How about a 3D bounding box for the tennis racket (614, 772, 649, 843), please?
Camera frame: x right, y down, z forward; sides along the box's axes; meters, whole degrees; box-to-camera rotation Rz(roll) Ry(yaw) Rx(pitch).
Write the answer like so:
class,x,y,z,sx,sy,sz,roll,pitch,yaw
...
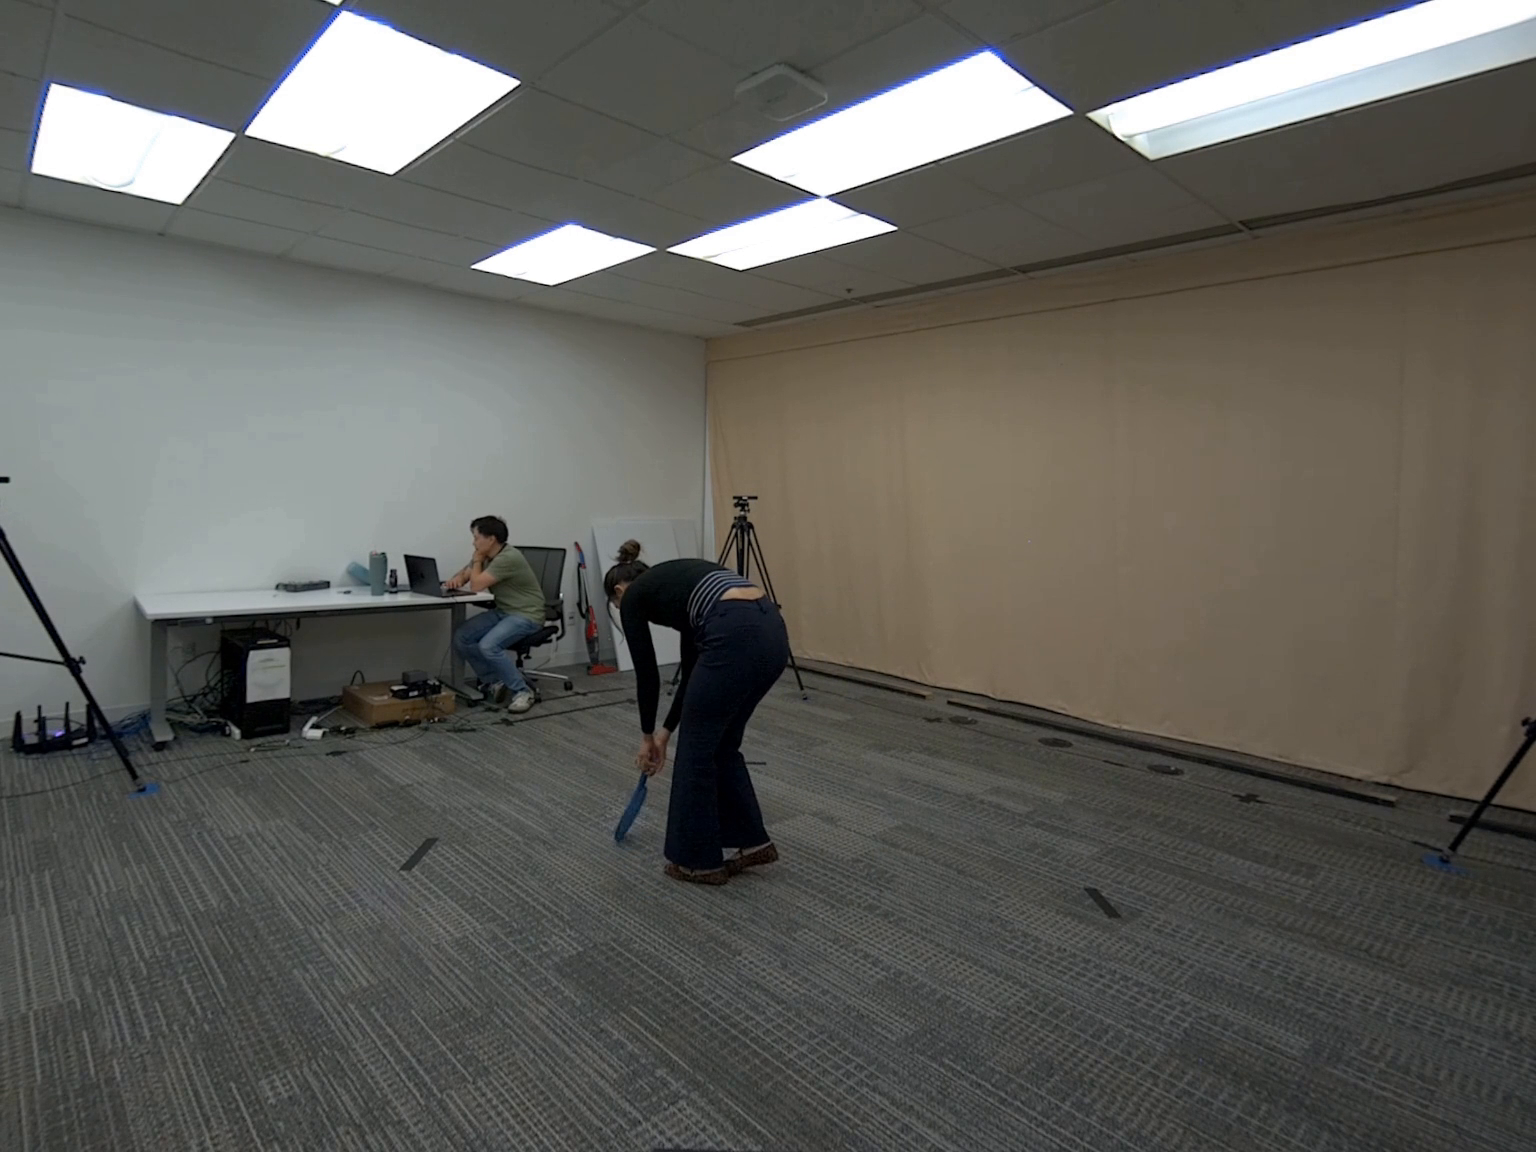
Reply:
class,x,y,z,sx,sy,sz,roll,pitch,yaw
tennis racket,-0.532,0.884,3.305,0.031,0.428,0.217,19,34,-6
